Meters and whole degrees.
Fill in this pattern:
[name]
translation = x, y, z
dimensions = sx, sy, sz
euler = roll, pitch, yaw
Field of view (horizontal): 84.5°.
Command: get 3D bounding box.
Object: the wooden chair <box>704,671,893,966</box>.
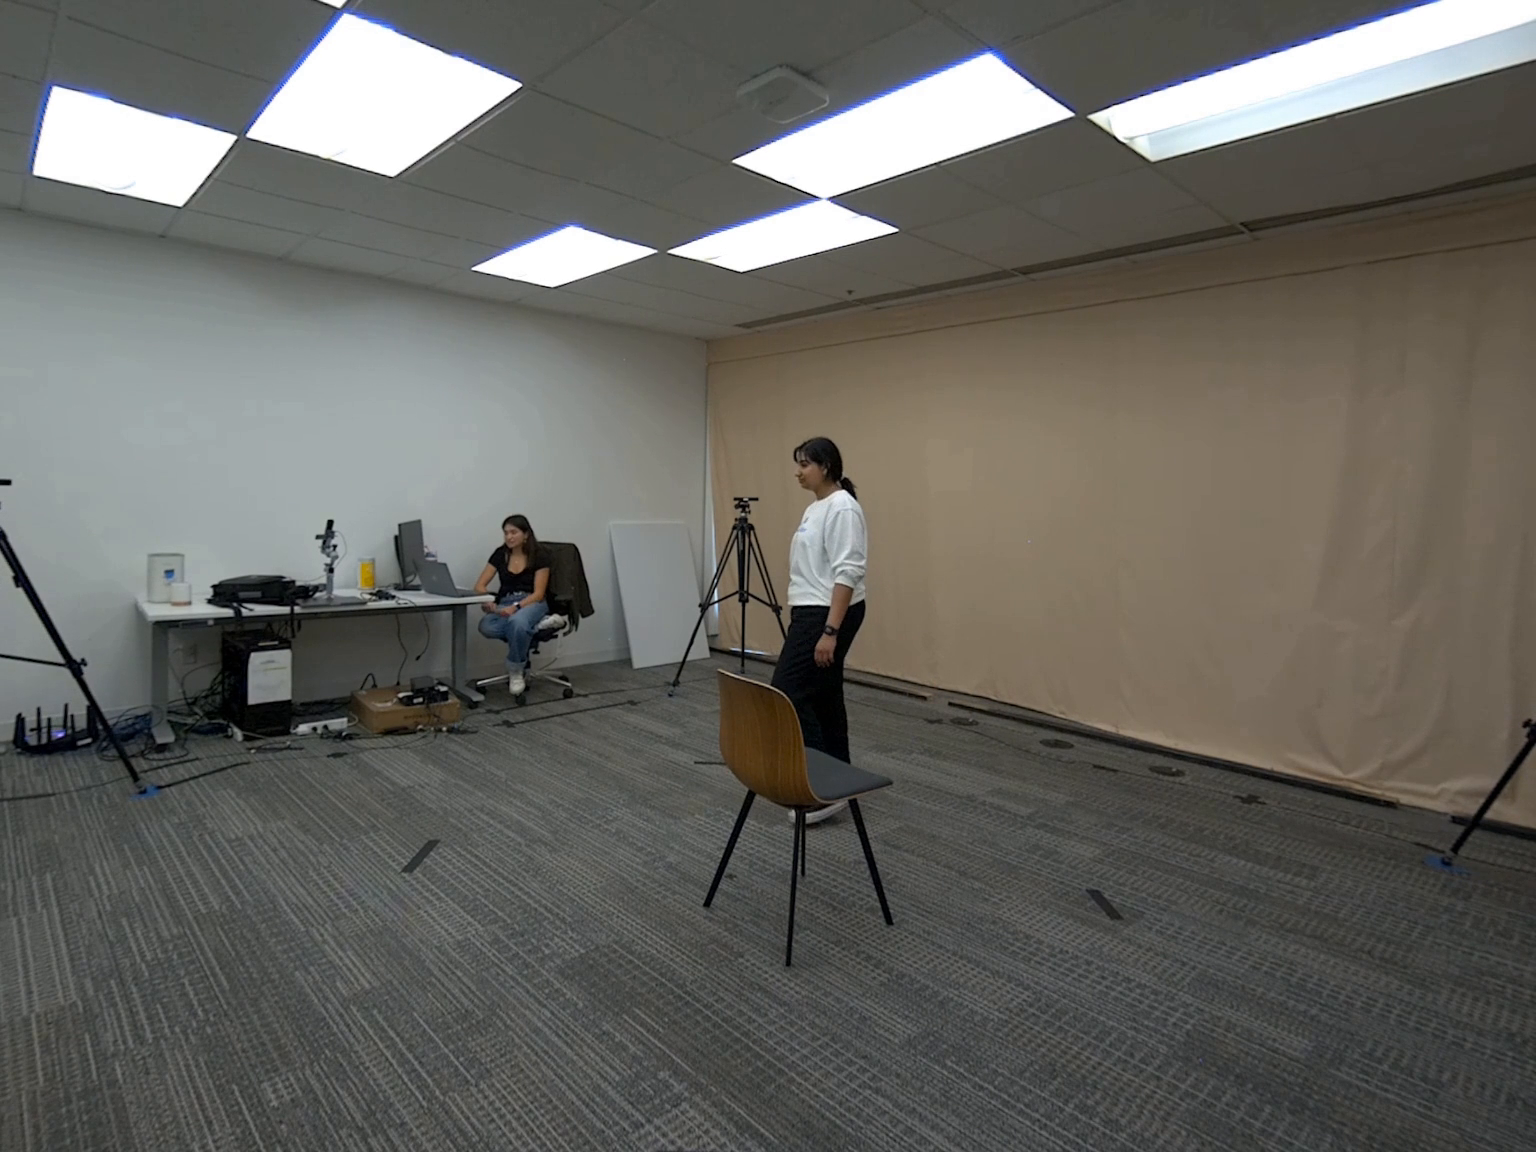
[wooden chair]
translation = 0.107, 0.714, 2.798
dimensions = 0.512, 0.873, 0.490
euler = -7, 8, -37
